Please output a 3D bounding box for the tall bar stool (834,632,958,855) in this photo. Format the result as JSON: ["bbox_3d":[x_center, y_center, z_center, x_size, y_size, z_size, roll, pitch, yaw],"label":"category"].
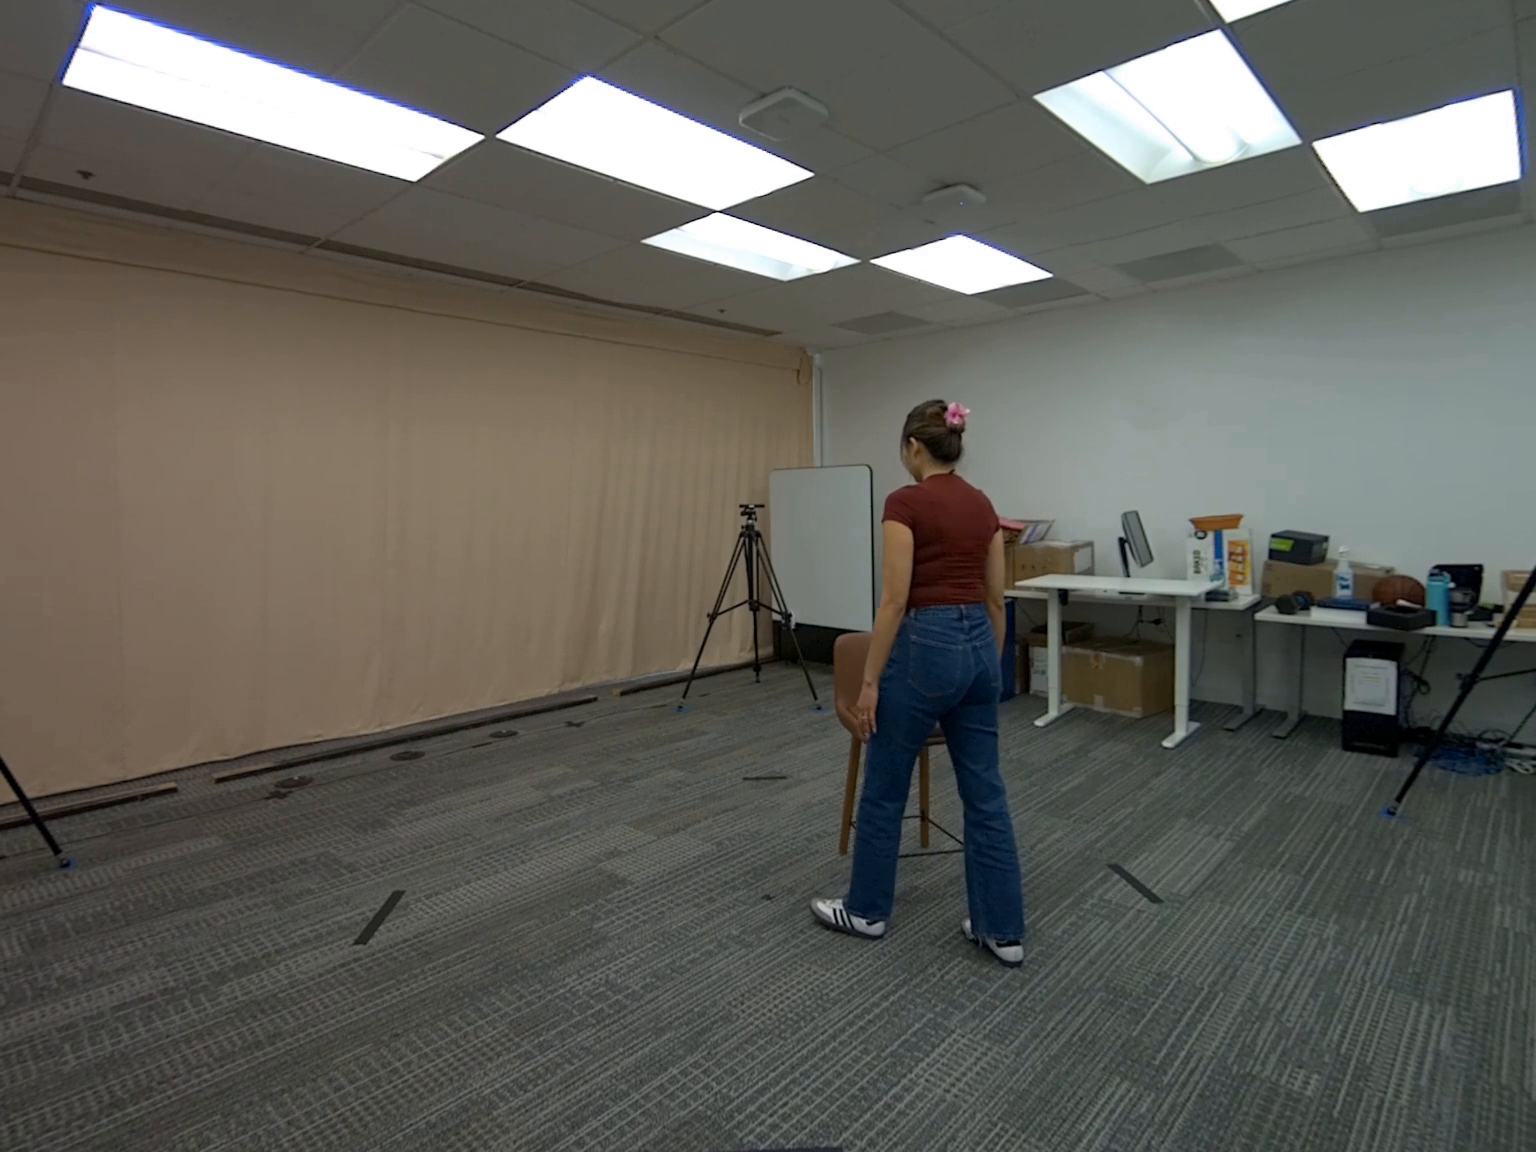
[{"bbox_3d":[0.519,0.682,3.153,0.450,0.889,0.475,-1,2,-14],"label":"tall bar stool"}]
